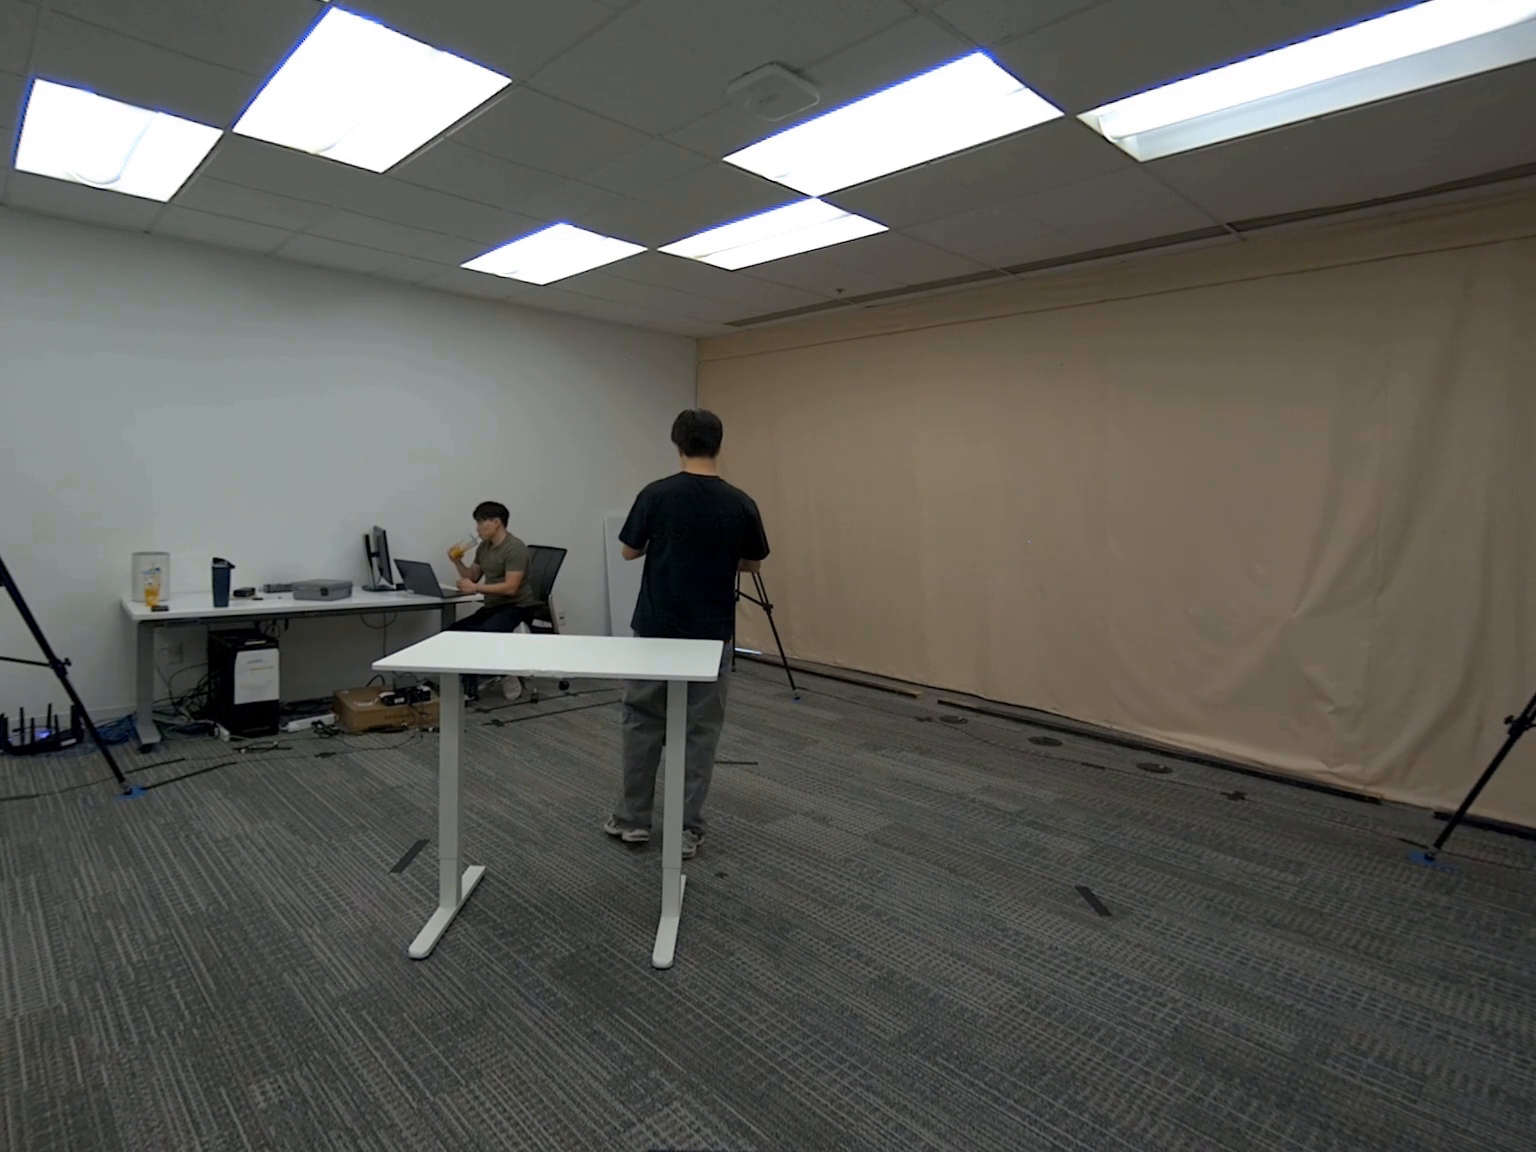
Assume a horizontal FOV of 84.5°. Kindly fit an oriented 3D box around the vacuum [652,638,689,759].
[{"bbox_3d":[-0.432,0.243,3.712,0.143,1.044,0.256,0,7,-10],"label":"vacuum"}]
